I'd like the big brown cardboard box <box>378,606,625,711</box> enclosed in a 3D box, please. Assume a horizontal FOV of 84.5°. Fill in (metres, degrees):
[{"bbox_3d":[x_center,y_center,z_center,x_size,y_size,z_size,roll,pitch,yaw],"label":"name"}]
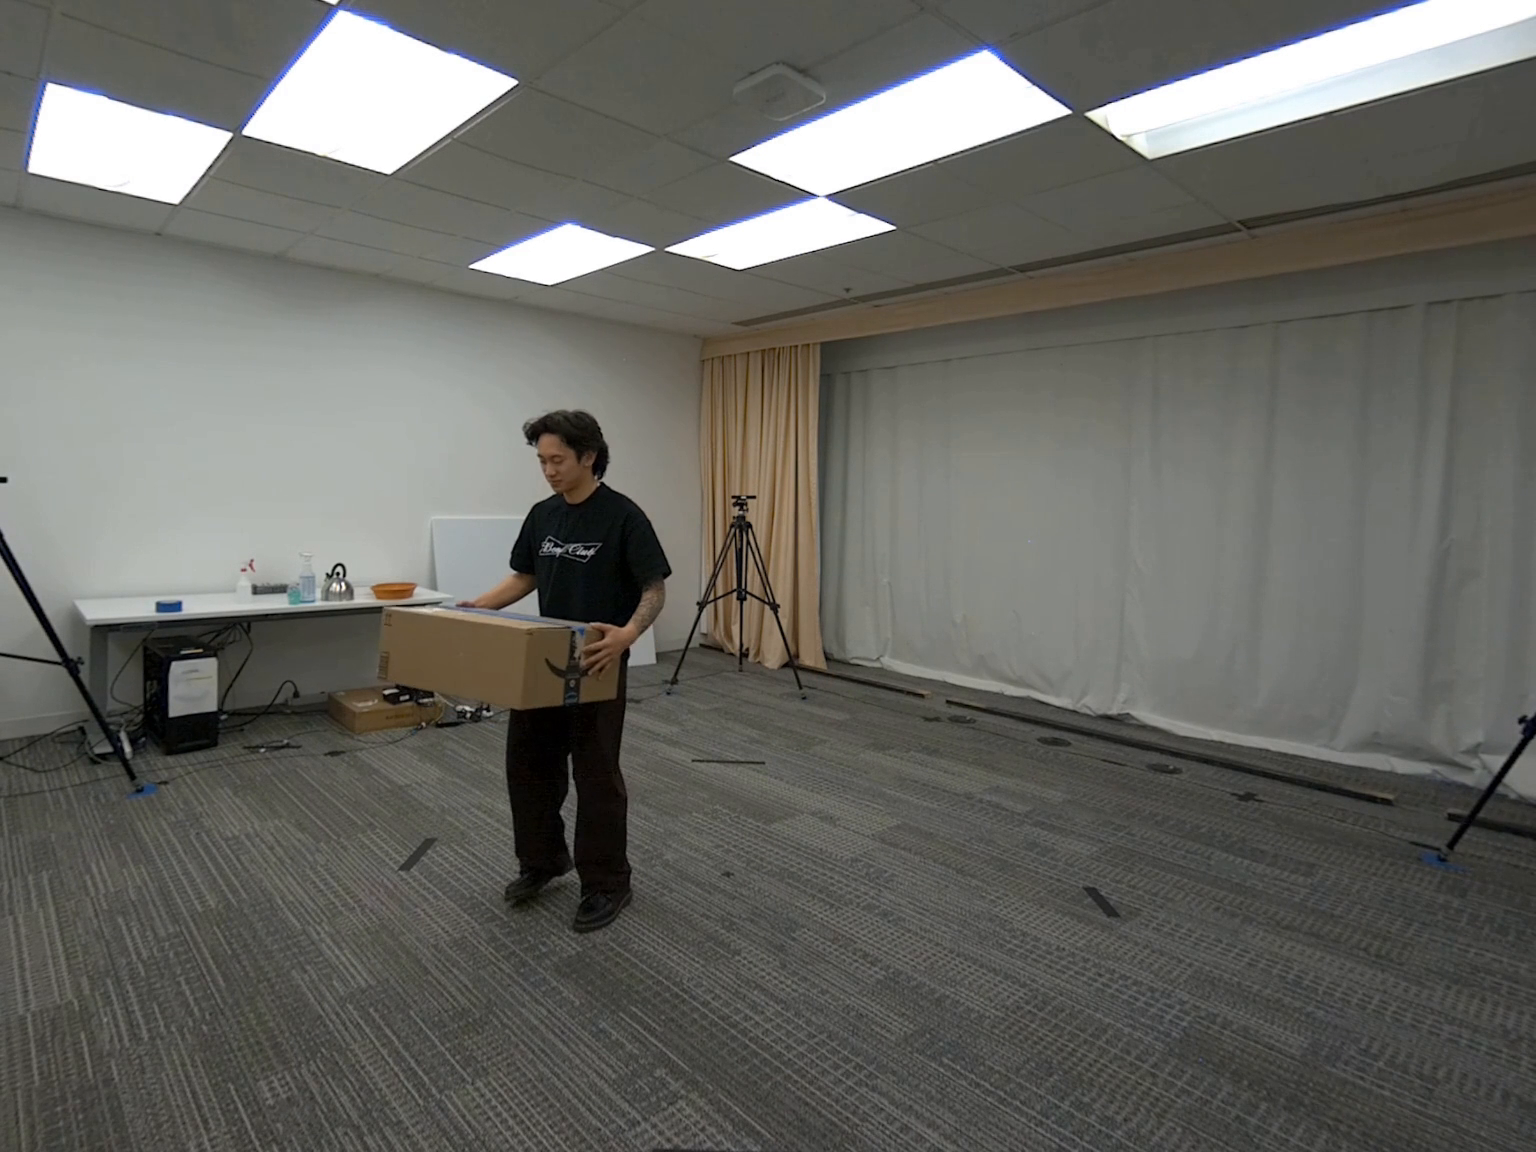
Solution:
[{"bbox_3d":[-0.807,0.232,2.499,0.602,0.233,0.408,6,-1,28],"label":"big brown cardboard box"}]
